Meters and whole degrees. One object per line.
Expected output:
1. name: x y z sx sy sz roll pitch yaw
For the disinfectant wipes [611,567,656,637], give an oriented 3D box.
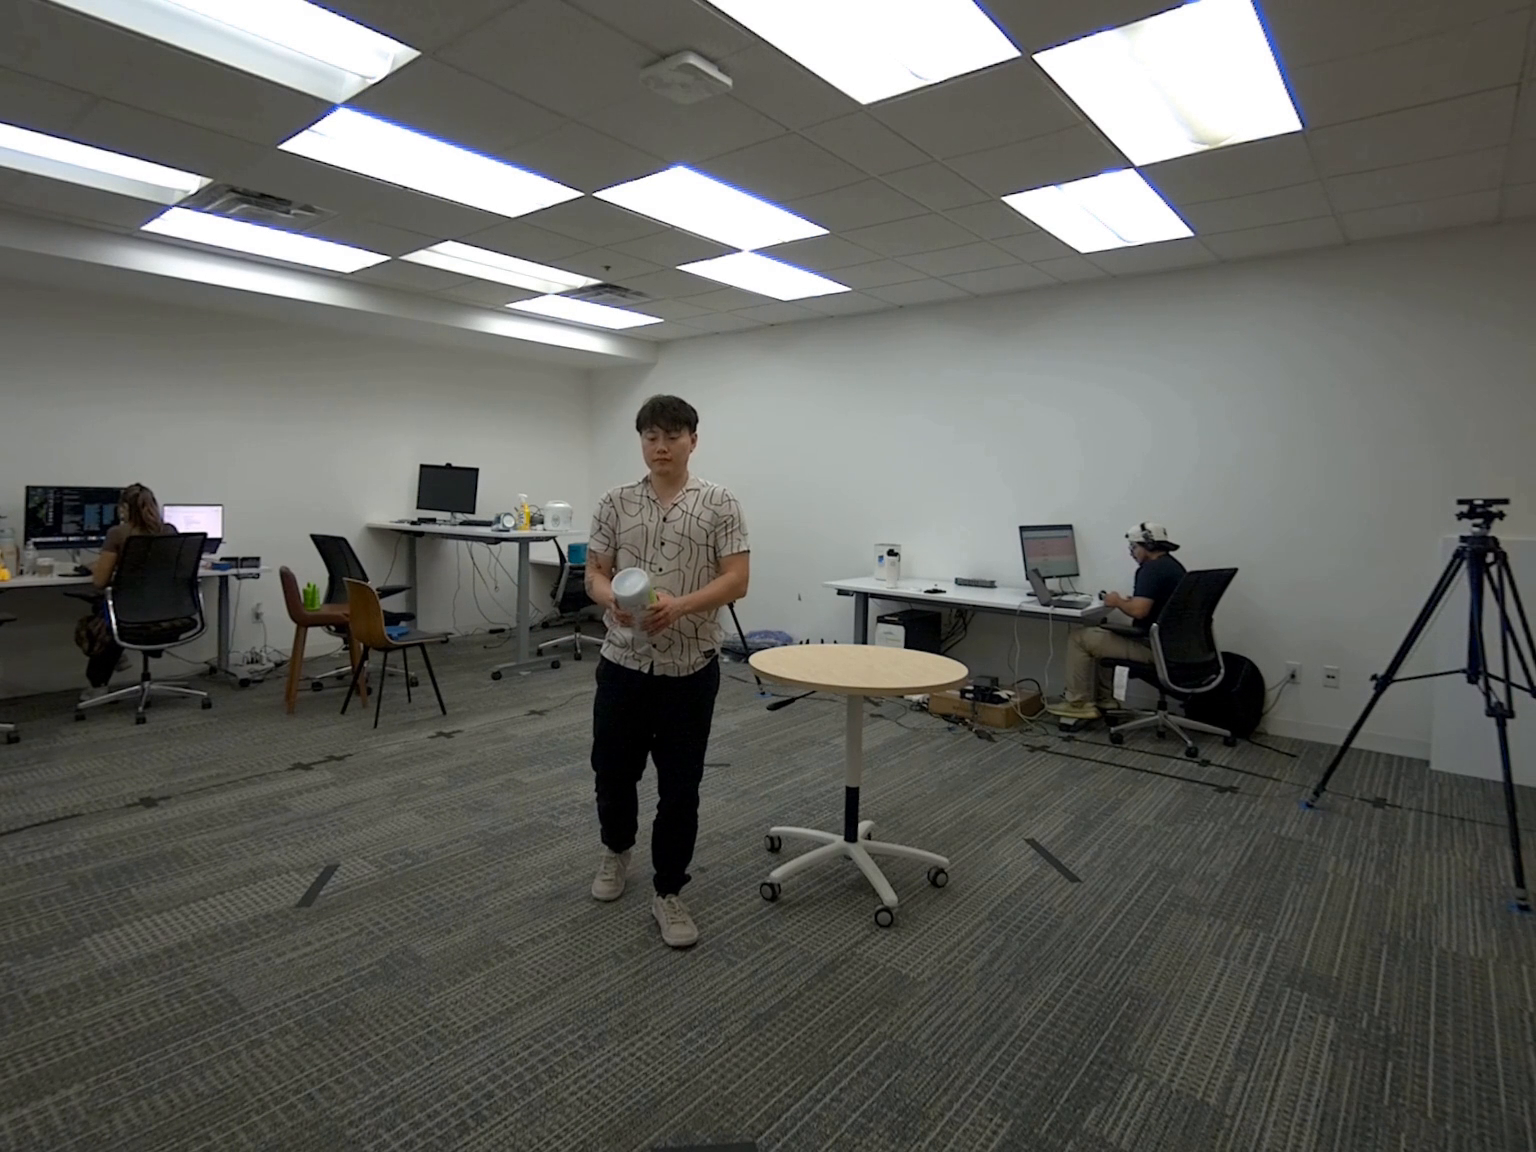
1. disinfectant wipes: -0.386 0.080 2.446 0.119 0.120 0.210 2 -39 11
